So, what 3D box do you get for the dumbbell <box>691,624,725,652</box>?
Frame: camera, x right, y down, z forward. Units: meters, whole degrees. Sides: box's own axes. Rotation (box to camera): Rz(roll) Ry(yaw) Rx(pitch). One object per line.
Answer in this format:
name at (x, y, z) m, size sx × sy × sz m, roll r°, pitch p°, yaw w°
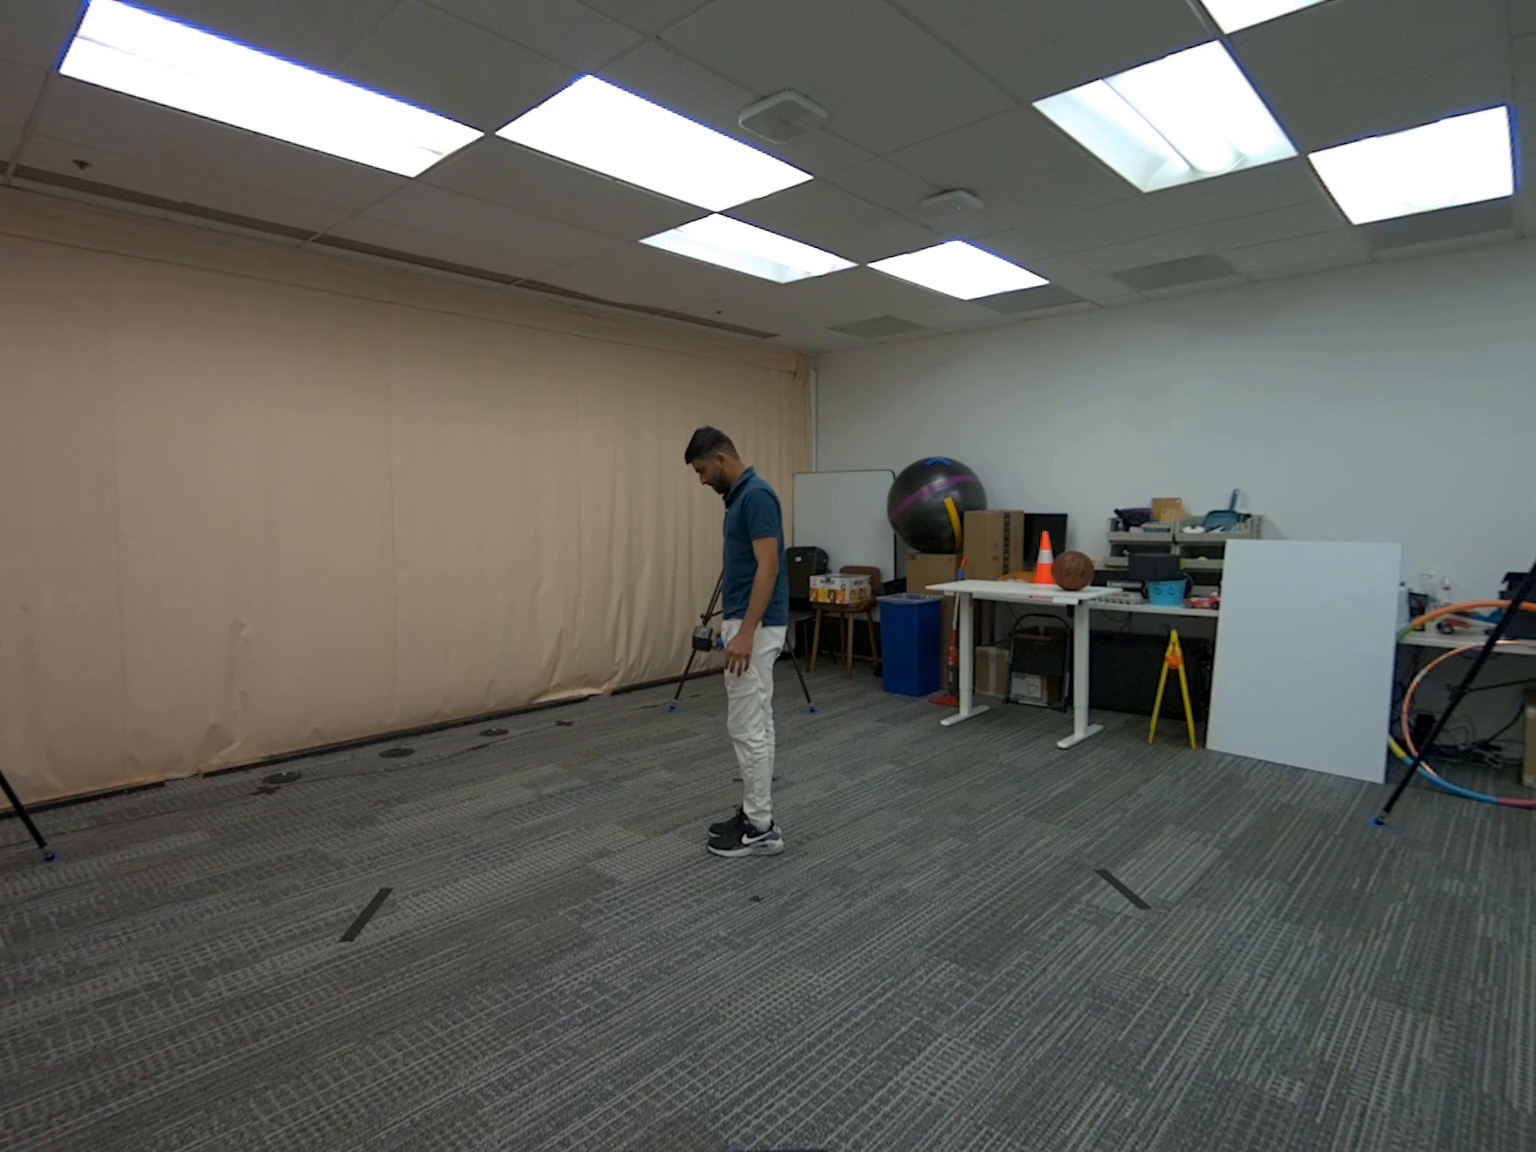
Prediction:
dumbbell at (-0.193, 0.284, 3.700) m, size 0.297 × 0.124 × 0.106 m, roll 9°, pitch -40°, yaw 10°
